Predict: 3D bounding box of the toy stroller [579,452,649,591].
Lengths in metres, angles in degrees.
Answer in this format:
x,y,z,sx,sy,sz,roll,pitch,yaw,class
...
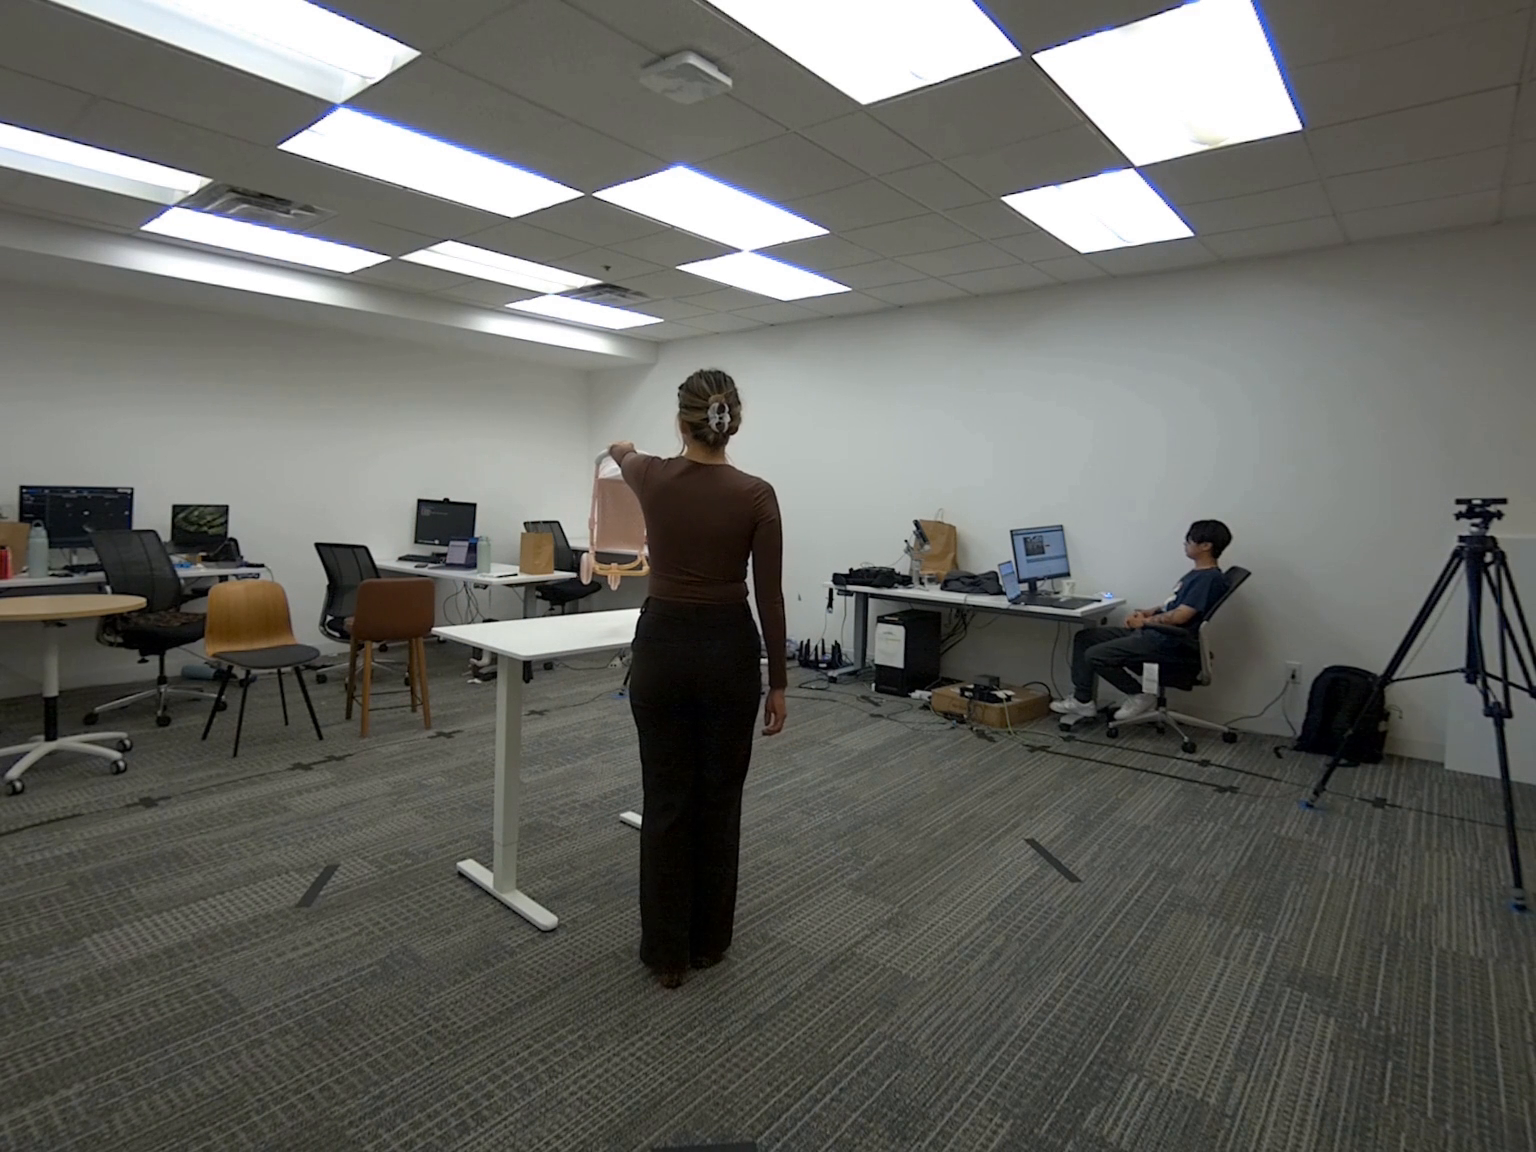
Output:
x,y,z,sx,sy,sz,roll,pitch,yaw,class
-0.560,-0.197,3.158,0.278,0.533,0.346,2,4,-11,toy stroller
